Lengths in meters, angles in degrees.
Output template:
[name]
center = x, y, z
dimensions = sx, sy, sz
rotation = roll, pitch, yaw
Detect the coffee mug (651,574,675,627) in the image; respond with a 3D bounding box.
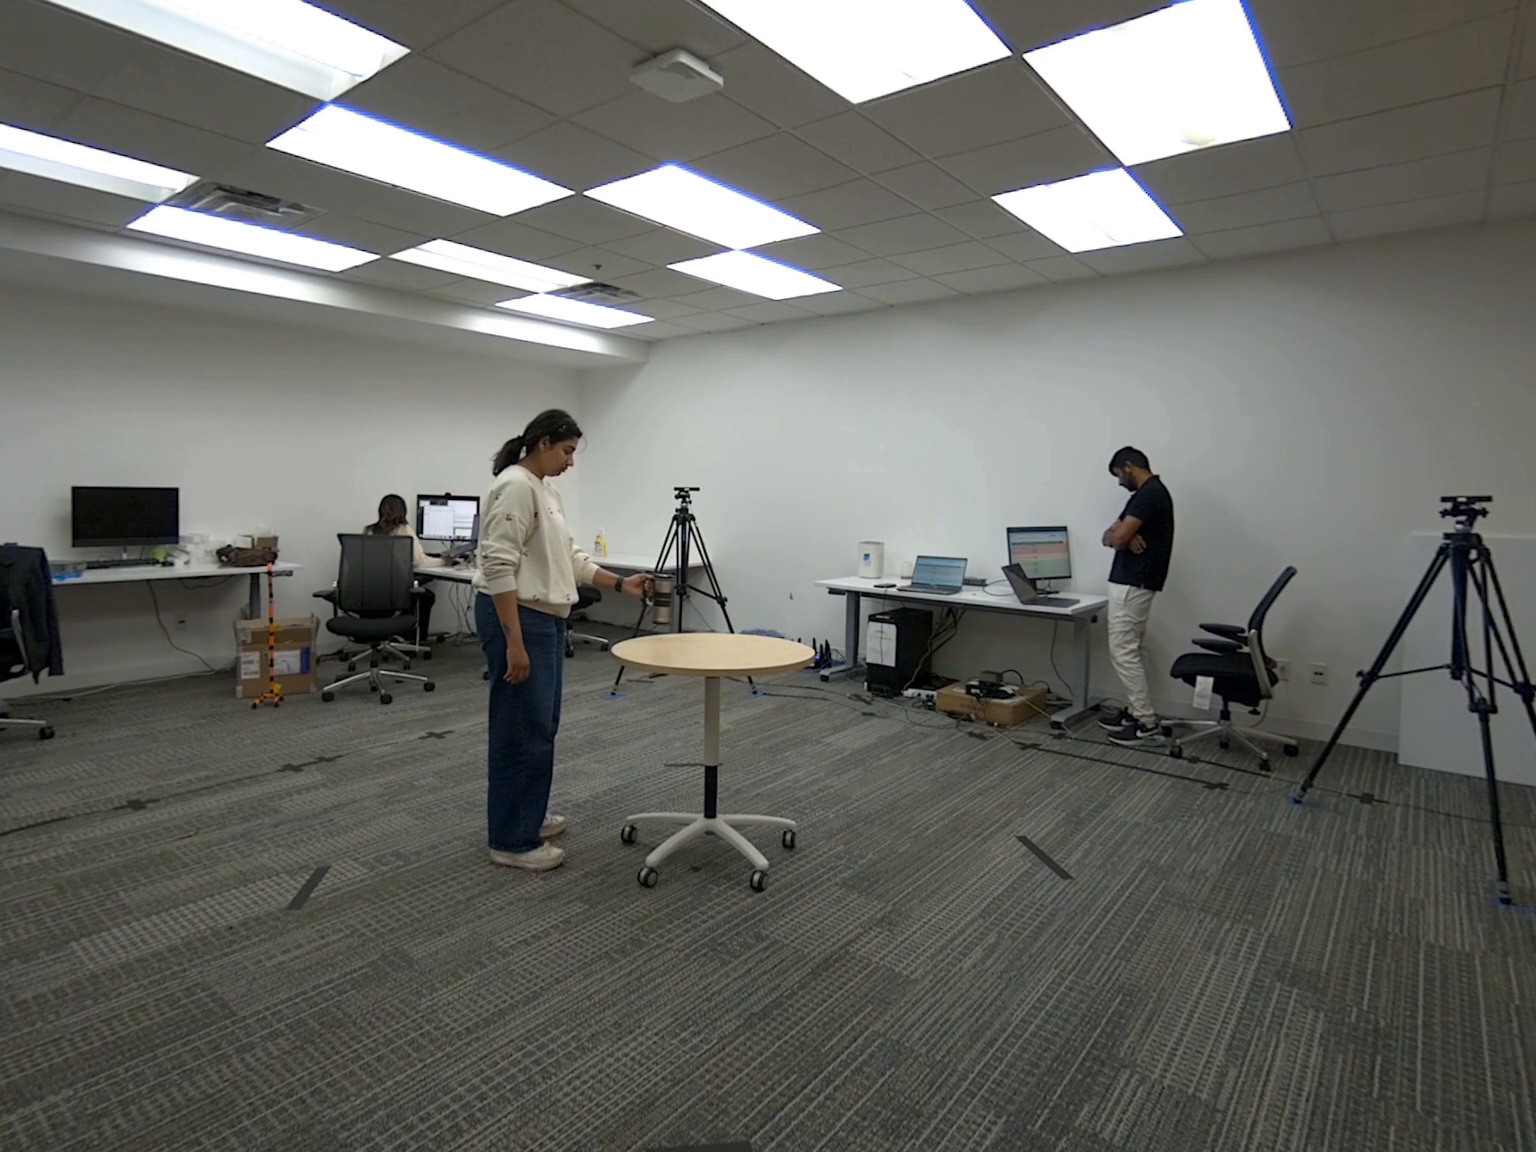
[coffee mug]
center = -0.461, 0.097, 3.471
dimensions = 0.126, 0.202, 0.085
rotation = 3, 5, 37
